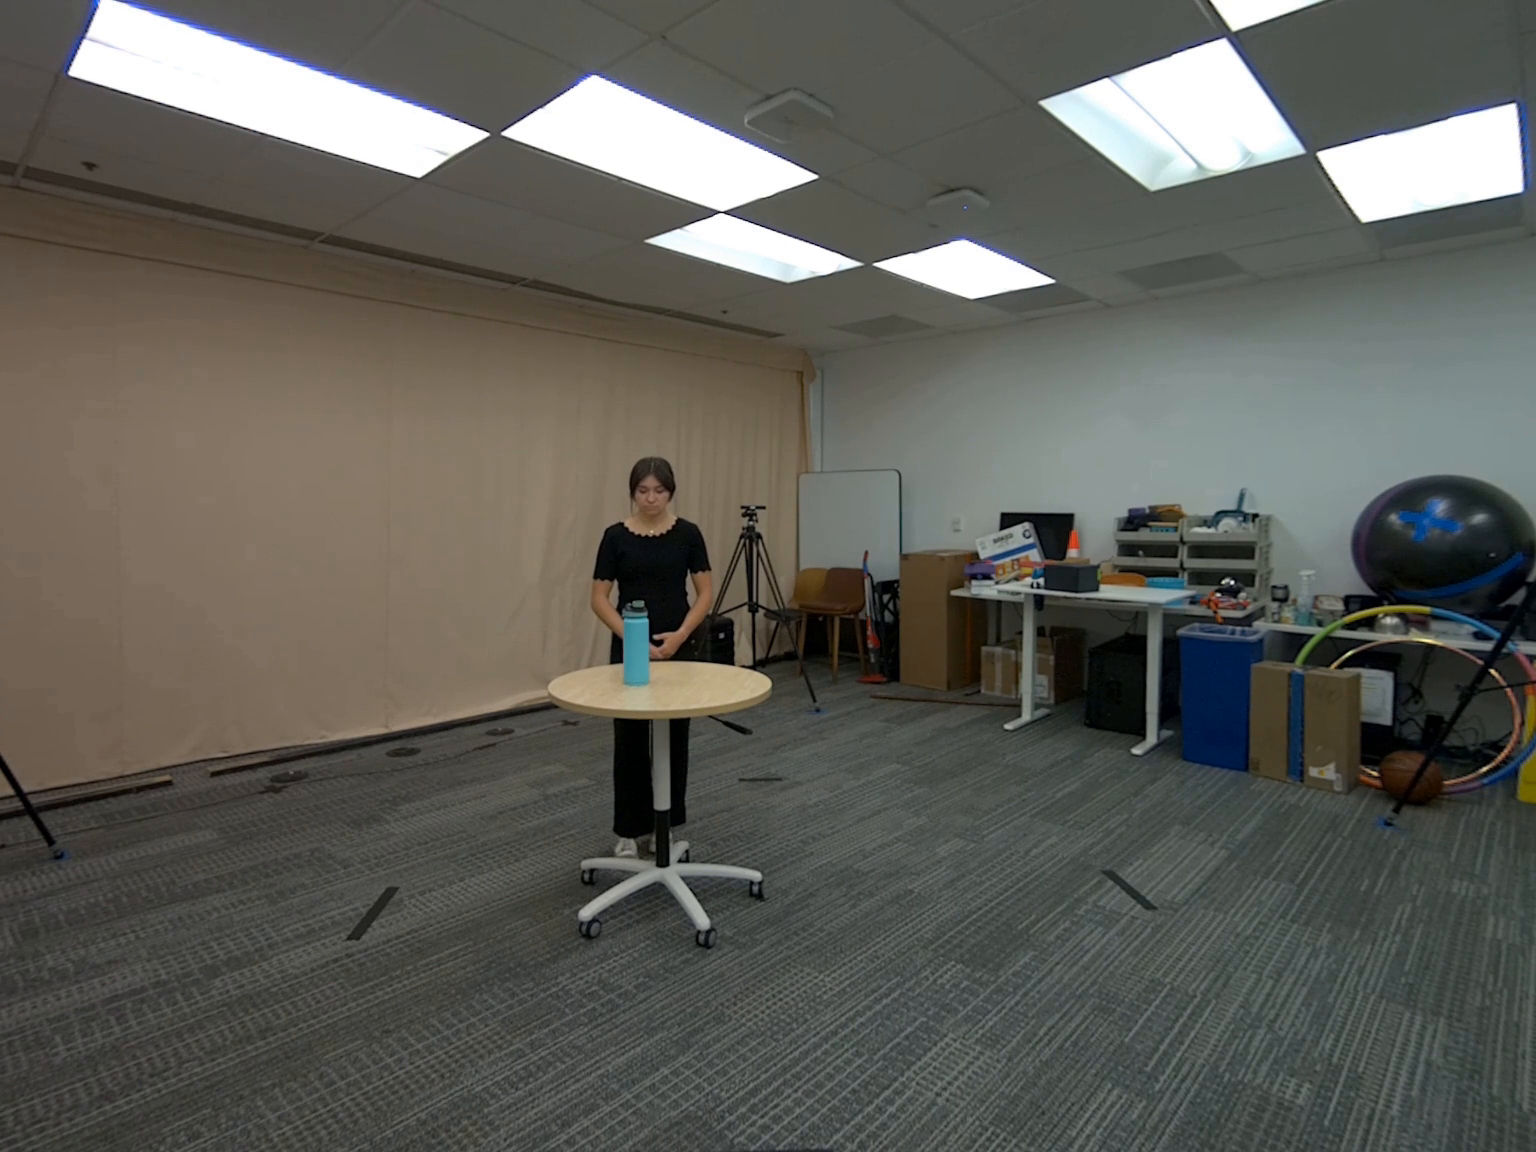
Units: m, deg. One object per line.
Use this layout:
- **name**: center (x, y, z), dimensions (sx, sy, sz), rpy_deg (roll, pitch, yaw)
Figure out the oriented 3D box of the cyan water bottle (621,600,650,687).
- **cyan water bottle**: center (-0.453, 0.228, 2.900), dimensions (0.092, 0.283, 0.092), rpy_deg (-1, 1, -2)
